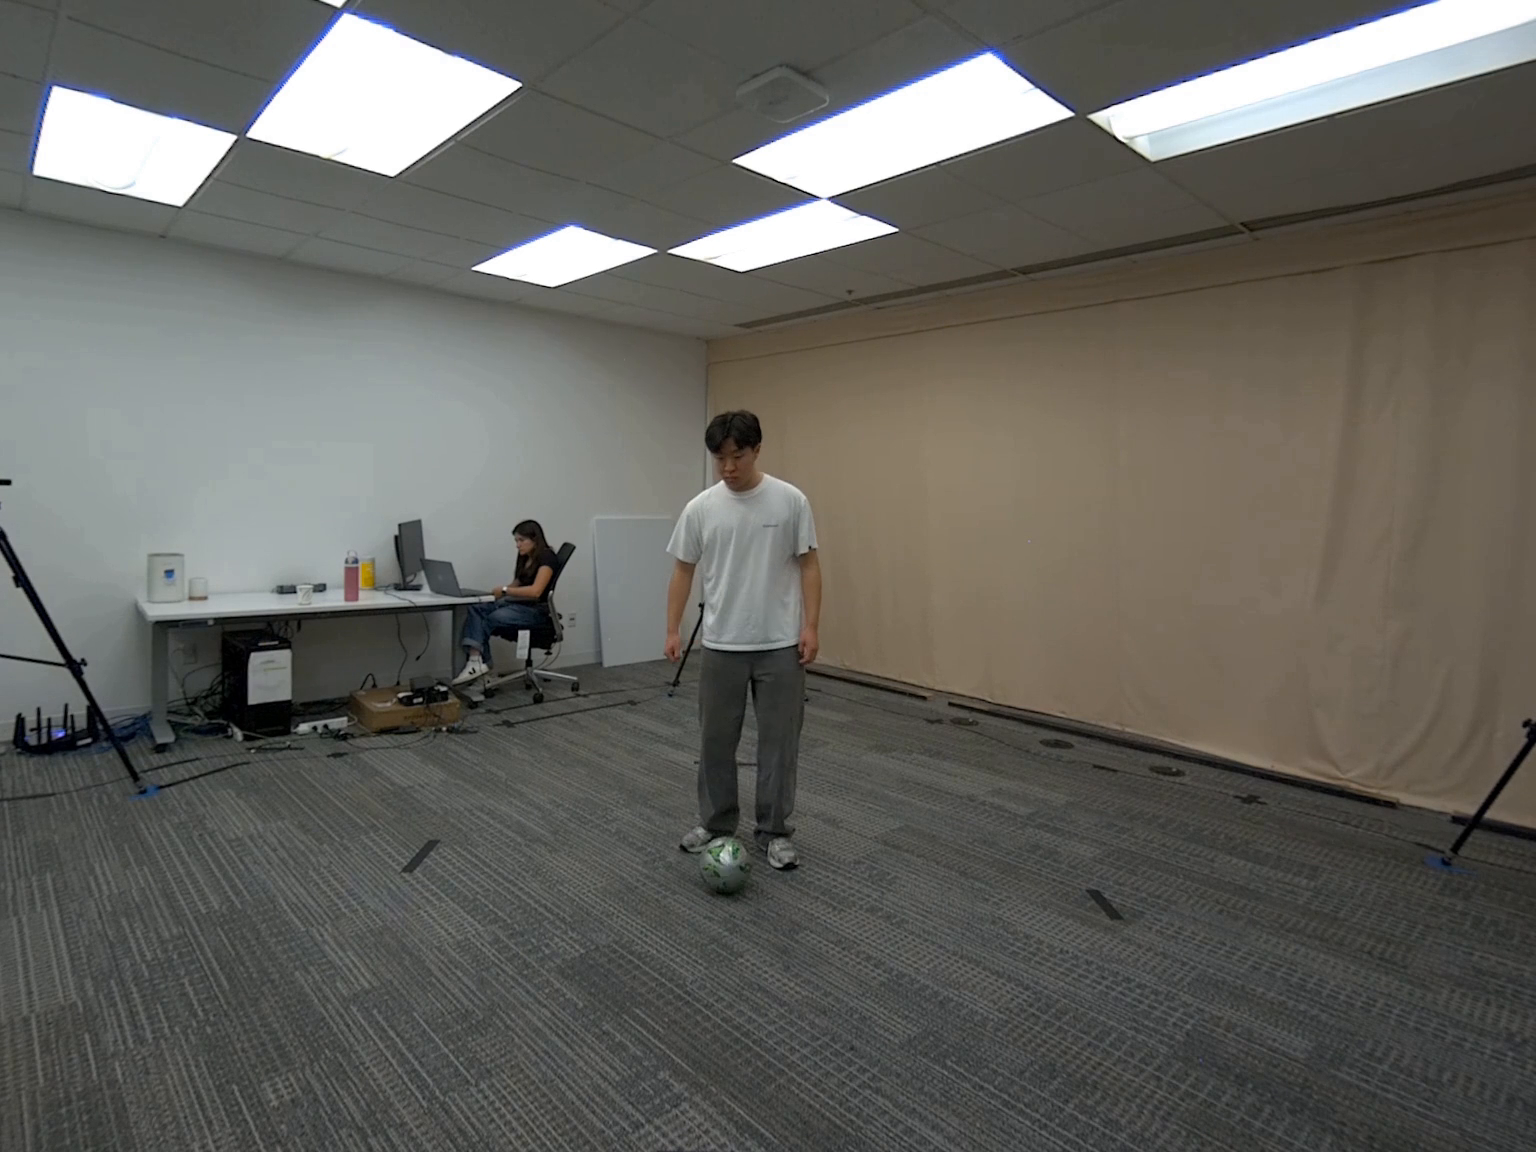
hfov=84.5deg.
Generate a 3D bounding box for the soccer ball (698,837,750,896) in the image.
[{"bbox_3d":[-0.163,1.027,2.978,0.187,0.187,0.188,1,4,-1],"label":"soccer ball"}]
